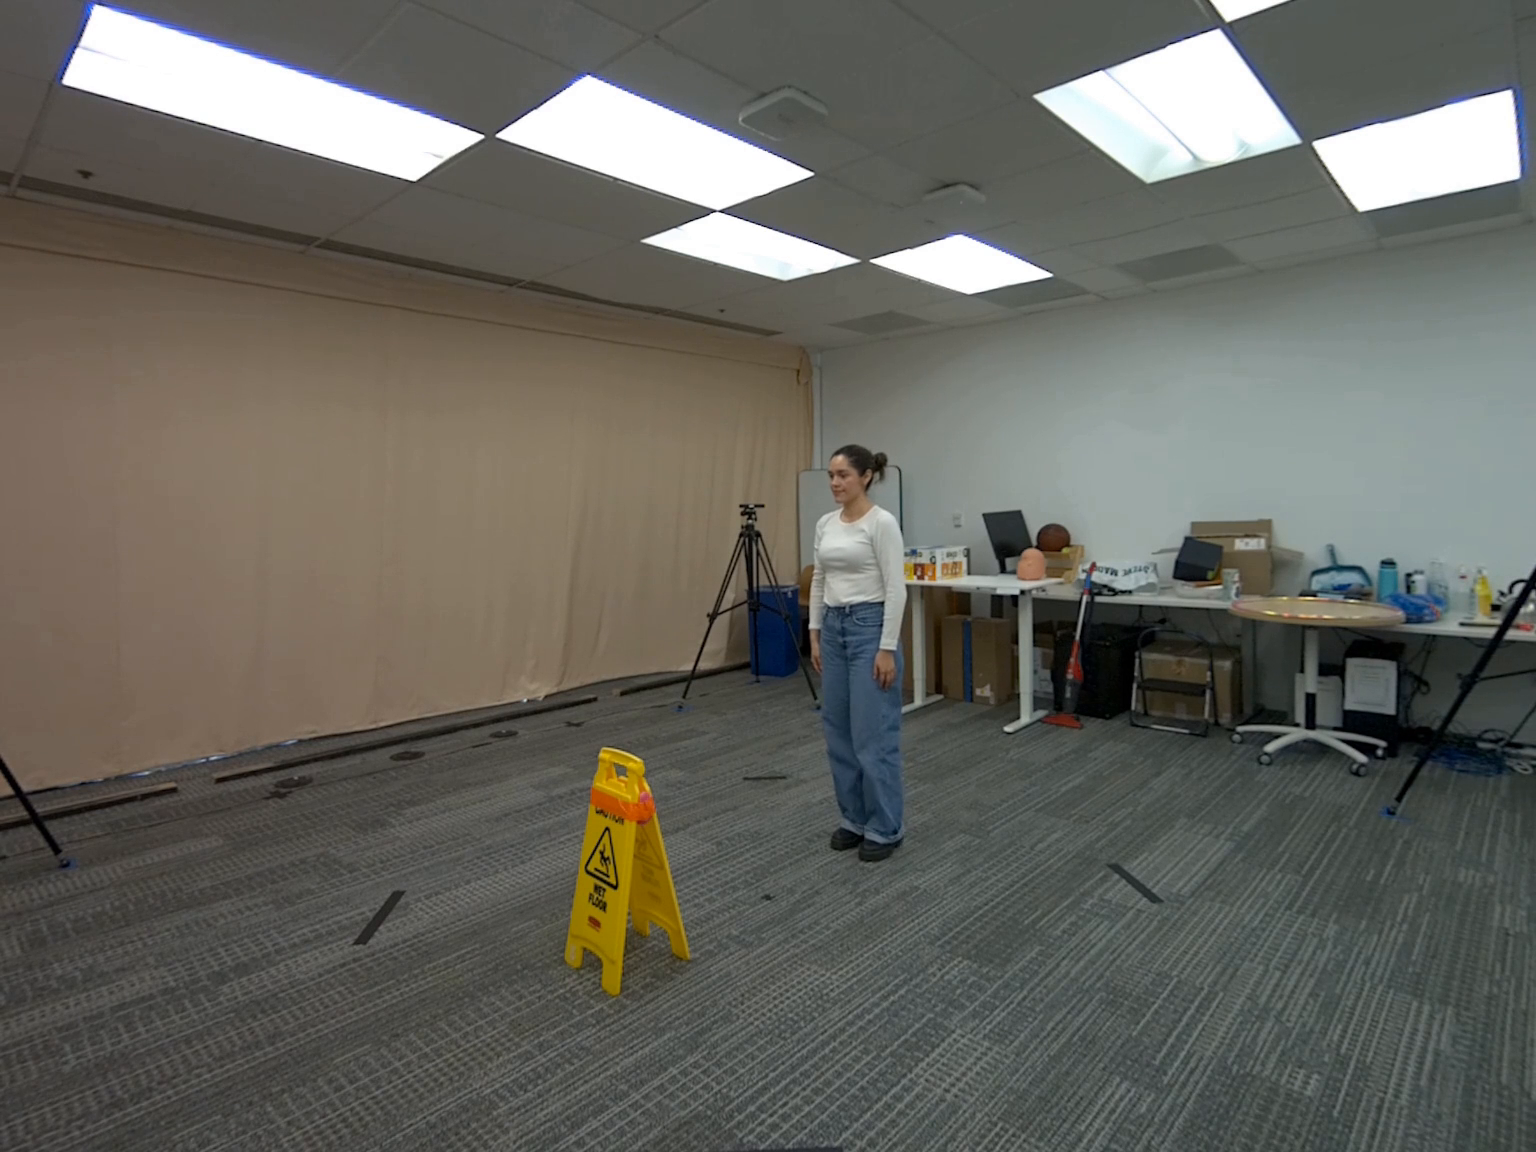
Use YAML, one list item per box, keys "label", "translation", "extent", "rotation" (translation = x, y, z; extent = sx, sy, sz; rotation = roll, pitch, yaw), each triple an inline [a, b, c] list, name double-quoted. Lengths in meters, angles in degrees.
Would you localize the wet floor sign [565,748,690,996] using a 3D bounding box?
- label: "wet floor sign"
  translation: [-0.440, 0.862, 2.565]
  extent: [0.281, 0.645, 0.291]
  rotation: [-5, 4, -44]
